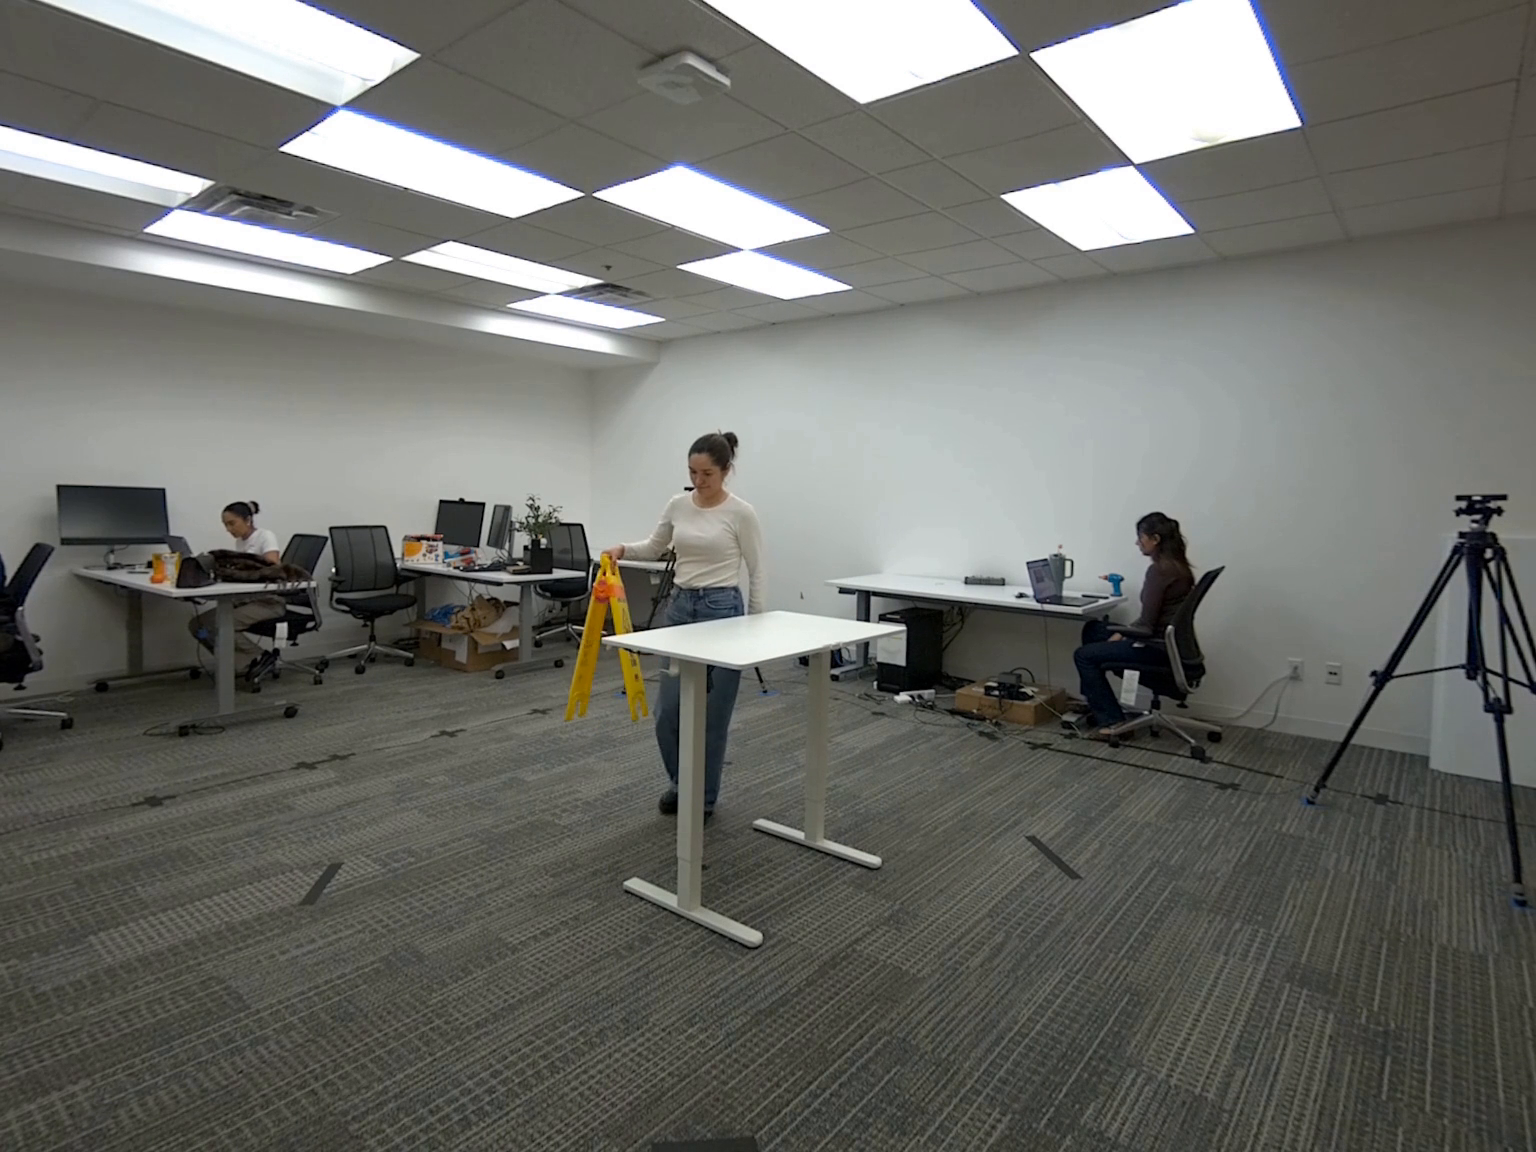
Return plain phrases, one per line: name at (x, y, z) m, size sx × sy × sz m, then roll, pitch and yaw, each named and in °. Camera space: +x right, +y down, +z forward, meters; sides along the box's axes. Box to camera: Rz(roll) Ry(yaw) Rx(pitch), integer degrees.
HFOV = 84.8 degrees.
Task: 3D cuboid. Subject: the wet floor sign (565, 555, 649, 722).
wet floor sign at (-0.657, 0.237, 3.412) m, size 0.291 × 0.651 × 0.278 m, roll -2°, pitch -7°, yaw 5°
